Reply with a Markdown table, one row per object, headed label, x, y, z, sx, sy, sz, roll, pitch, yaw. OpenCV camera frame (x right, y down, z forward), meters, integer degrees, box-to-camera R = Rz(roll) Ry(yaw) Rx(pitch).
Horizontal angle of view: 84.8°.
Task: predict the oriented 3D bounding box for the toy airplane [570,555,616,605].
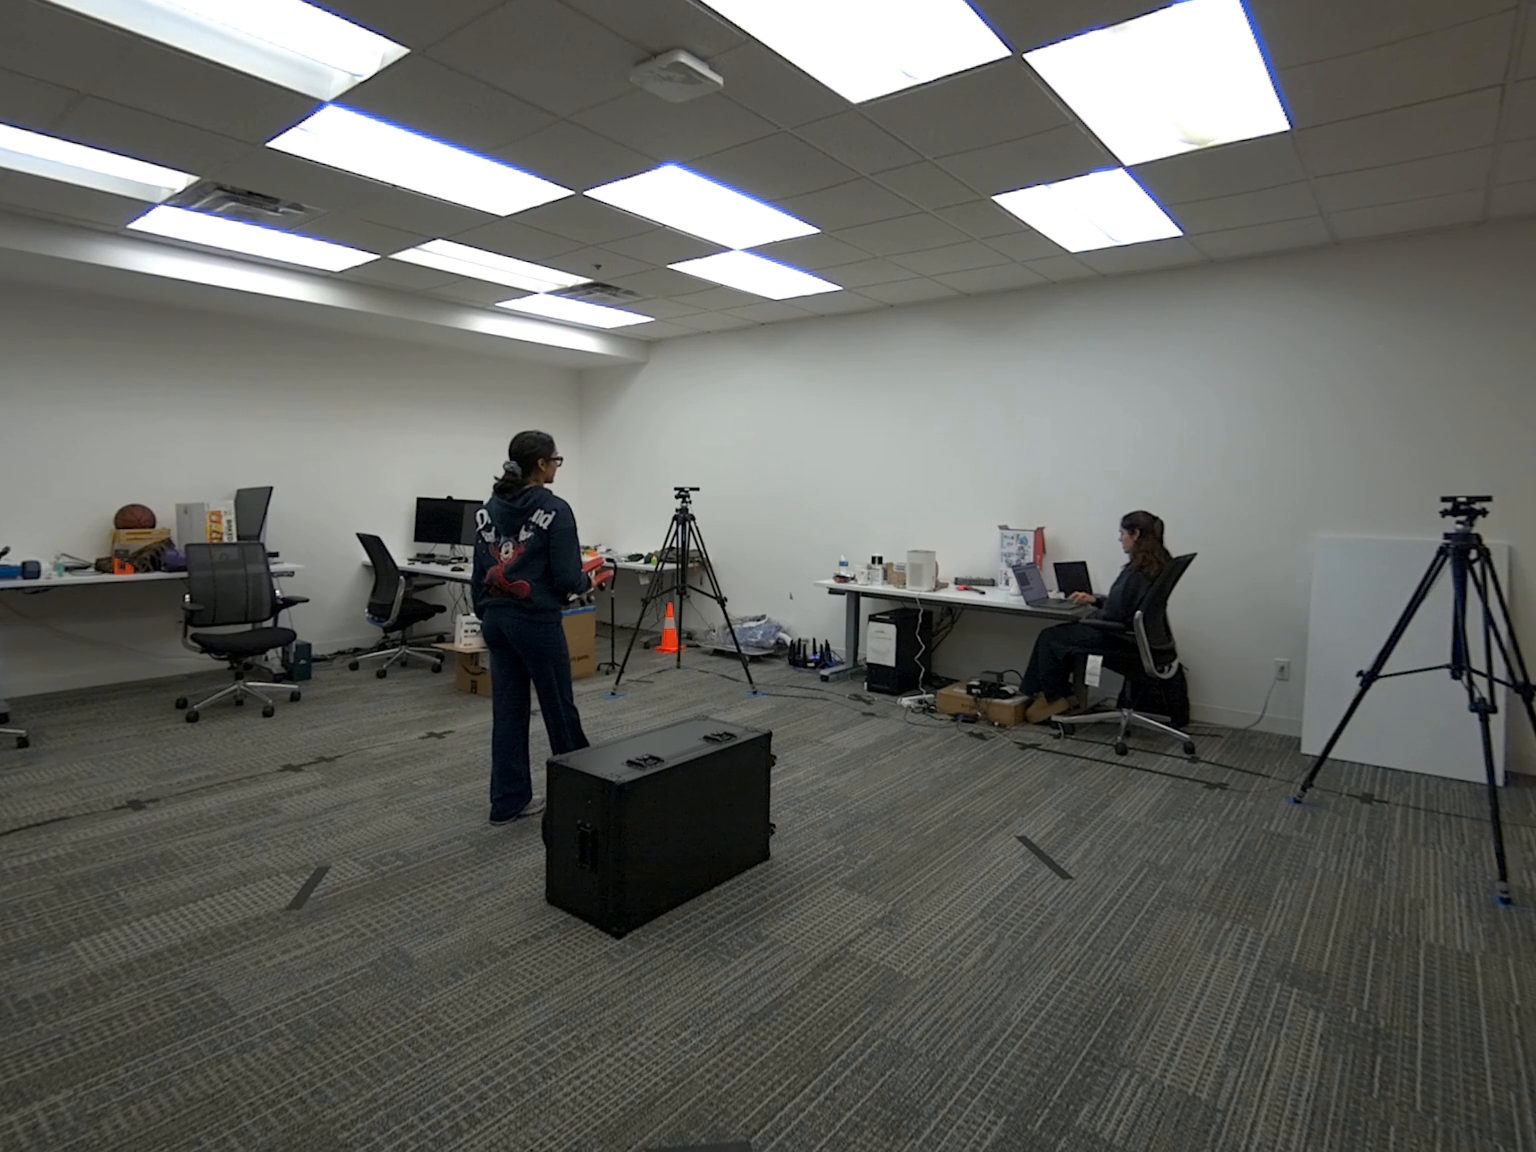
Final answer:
| label | x | y | z | sx | sy | sz | roll | pitch | yaw |
| --- | --- | --- | --- | --- | --- | --- | --- | --- | --- |
| toy airplane | -0.814 | 0.025 | 3.810 | 0.249 | 0.154 | 0.265 | -32 | 12 | -20 |
